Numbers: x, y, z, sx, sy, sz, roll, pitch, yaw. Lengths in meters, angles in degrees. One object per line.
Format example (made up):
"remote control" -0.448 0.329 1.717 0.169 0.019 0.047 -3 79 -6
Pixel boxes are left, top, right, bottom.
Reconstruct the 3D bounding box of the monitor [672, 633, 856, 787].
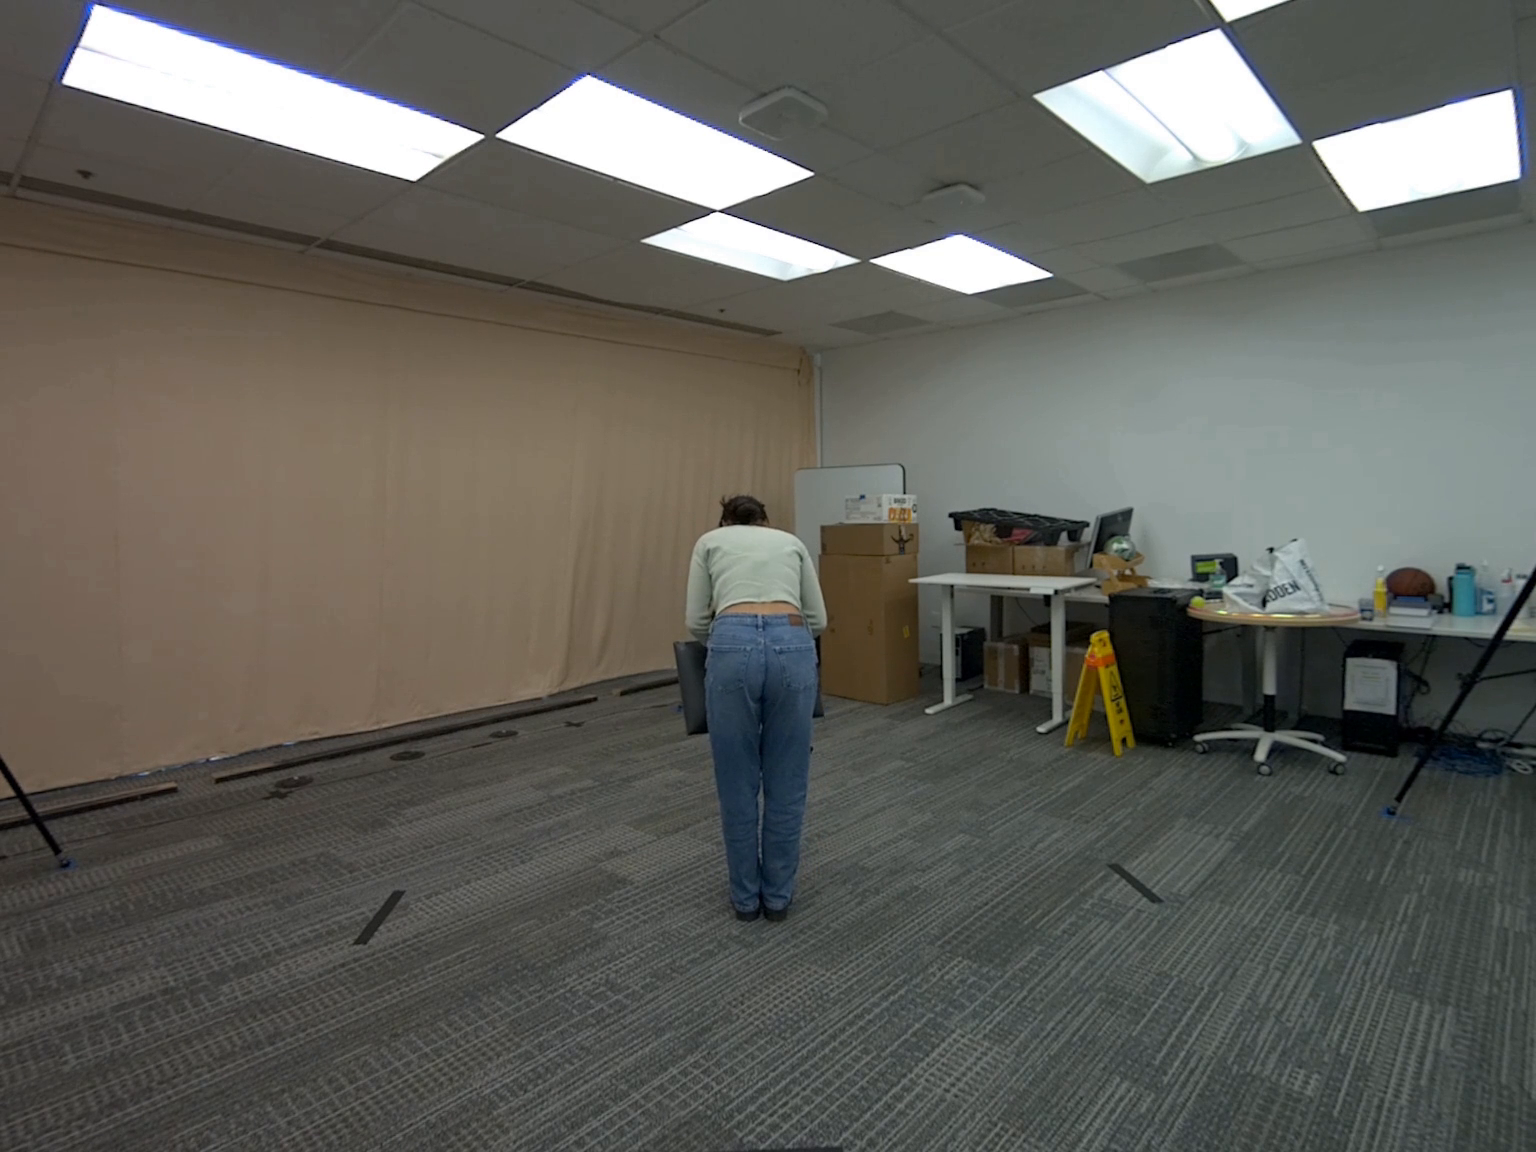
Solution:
"monitor" -0.033 0.453 3.099 0.521 0.529 0.173 -4 -37 -17
